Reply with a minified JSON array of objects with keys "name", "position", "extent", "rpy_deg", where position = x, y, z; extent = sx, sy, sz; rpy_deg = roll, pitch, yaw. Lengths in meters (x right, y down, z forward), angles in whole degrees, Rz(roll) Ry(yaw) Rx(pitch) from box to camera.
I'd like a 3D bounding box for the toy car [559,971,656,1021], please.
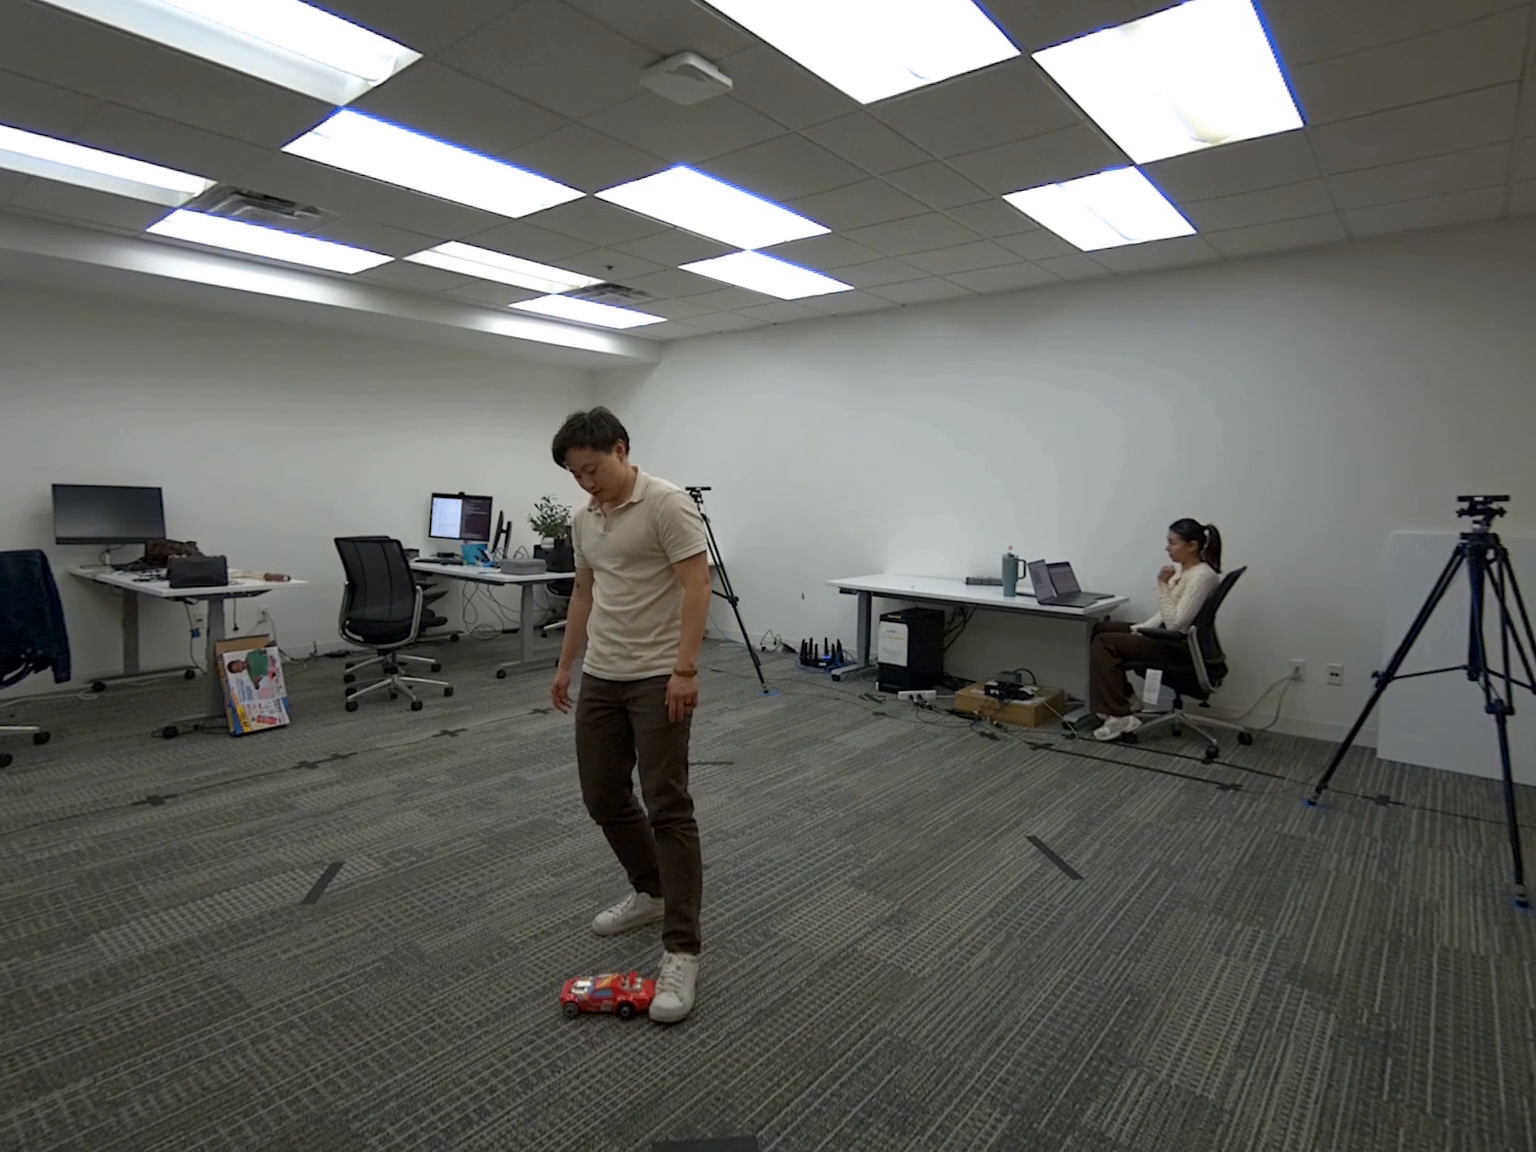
[{"name":"toy car","position":[-0.428,1.117,2.274],"extent":[0.255,0.083,0.130],"rpy_deg":[-9,4,2]}]
